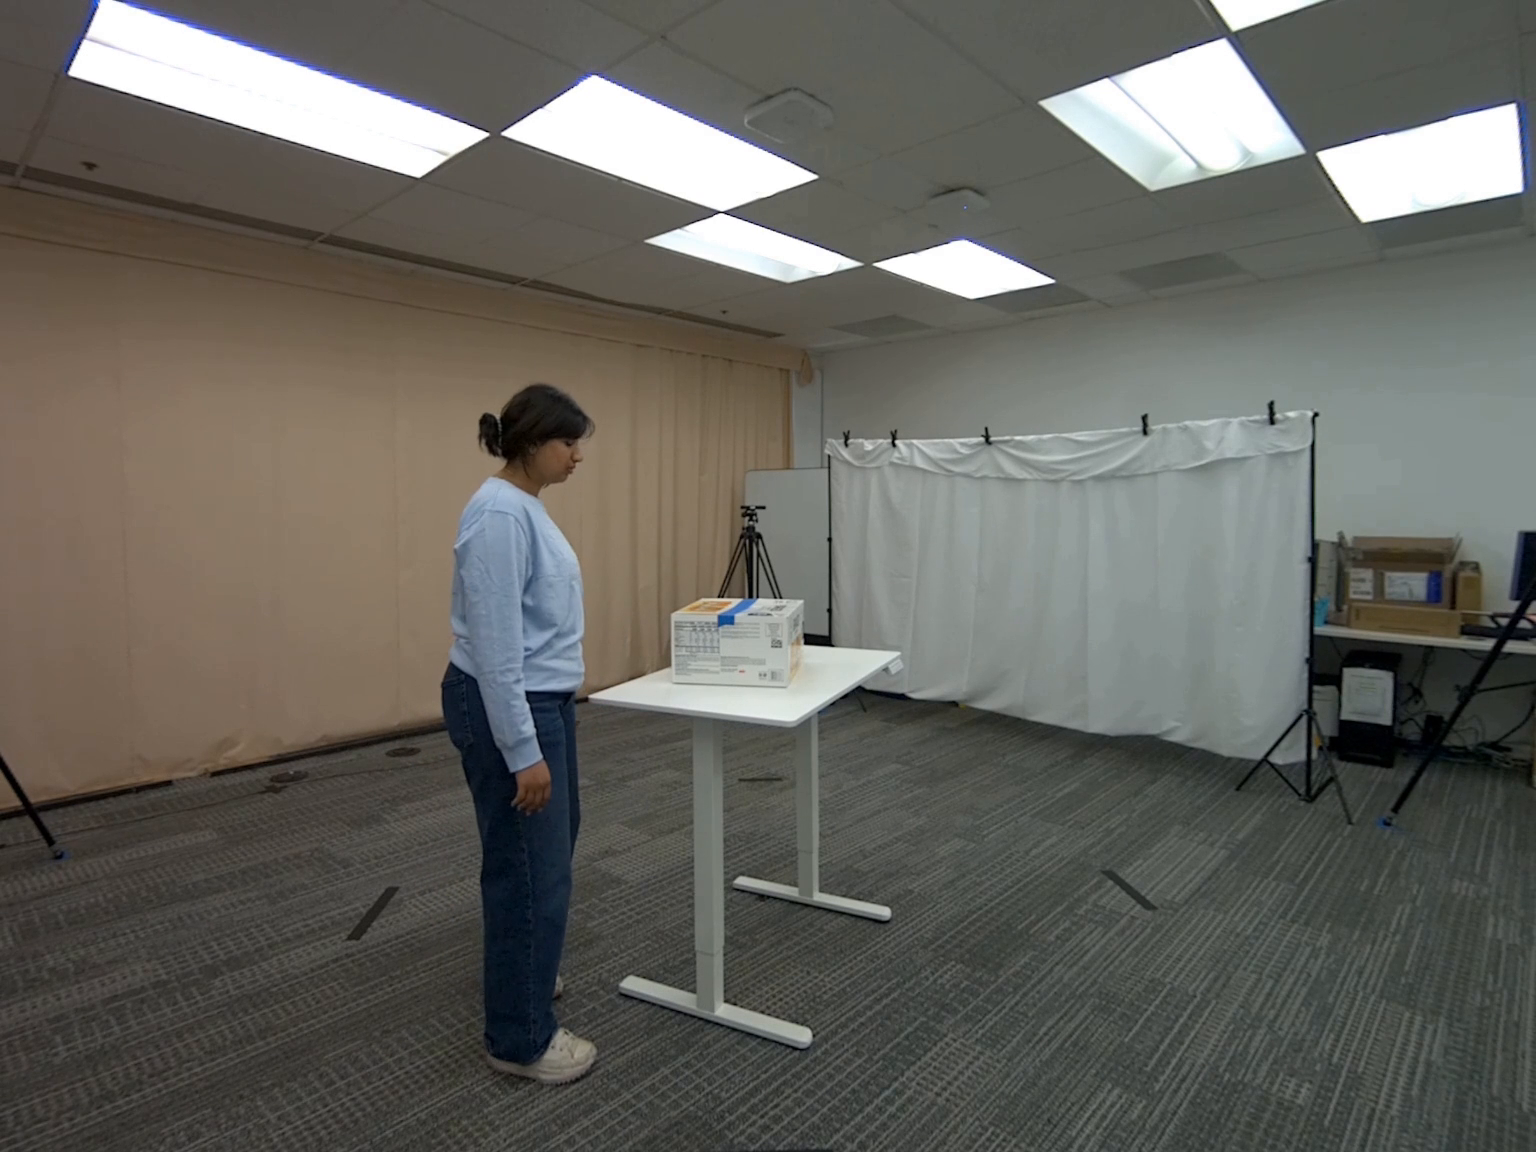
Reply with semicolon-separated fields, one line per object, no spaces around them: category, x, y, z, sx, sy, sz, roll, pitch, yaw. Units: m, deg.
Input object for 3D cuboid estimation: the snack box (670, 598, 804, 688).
snack box;-0.077;0.194;2.579;0.344;0.205;0.401;0;5;10
